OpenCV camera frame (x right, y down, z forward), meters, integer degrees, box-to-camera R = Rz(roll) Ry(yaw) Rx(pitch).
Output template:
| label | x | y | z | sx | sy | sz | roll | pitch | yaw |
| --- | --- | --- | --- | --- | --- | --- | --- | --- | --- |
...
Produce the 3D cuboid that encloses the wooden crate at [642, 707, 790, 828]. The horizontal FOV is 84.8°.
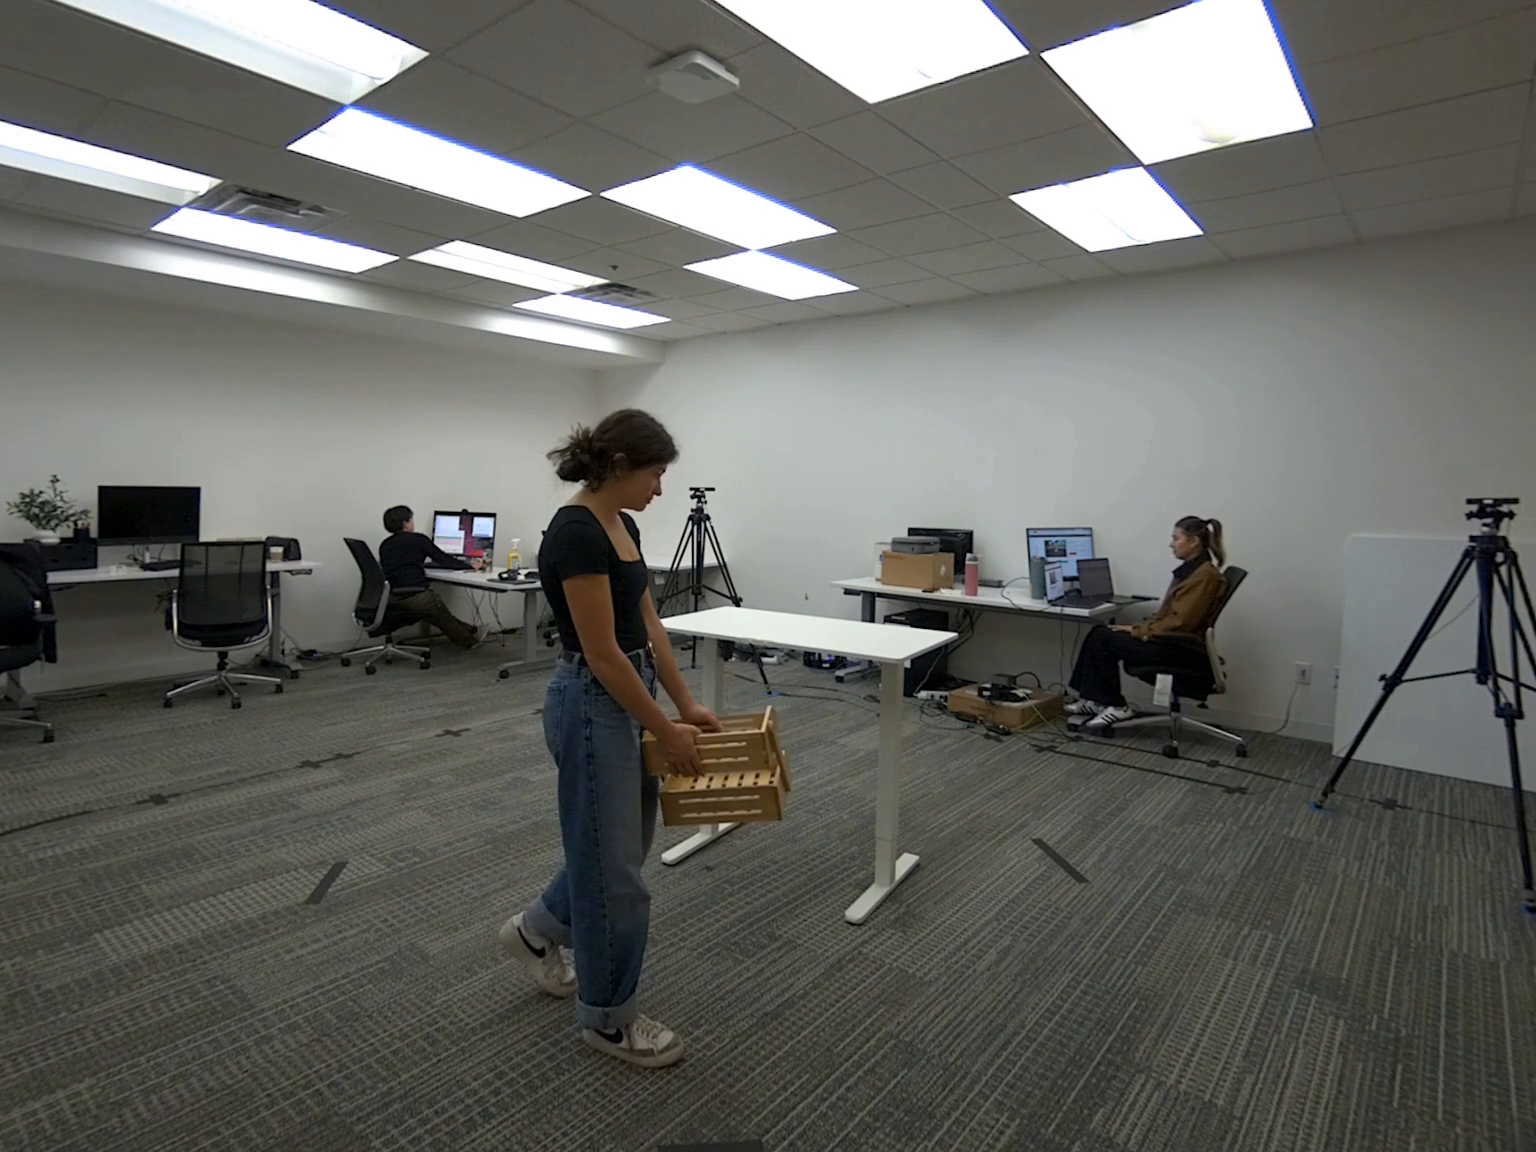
| label | x | y | z | sx | sy | sz | roll | pitch | yaw |
| --- | --- | --- | --- | --- | --- | --- | --- | --- | --- |
| wooden crate | -0.134 | 0.458 | 2.175 | 0.328 | 0.269 | 0.303 | -7 | 14 | 10 |
